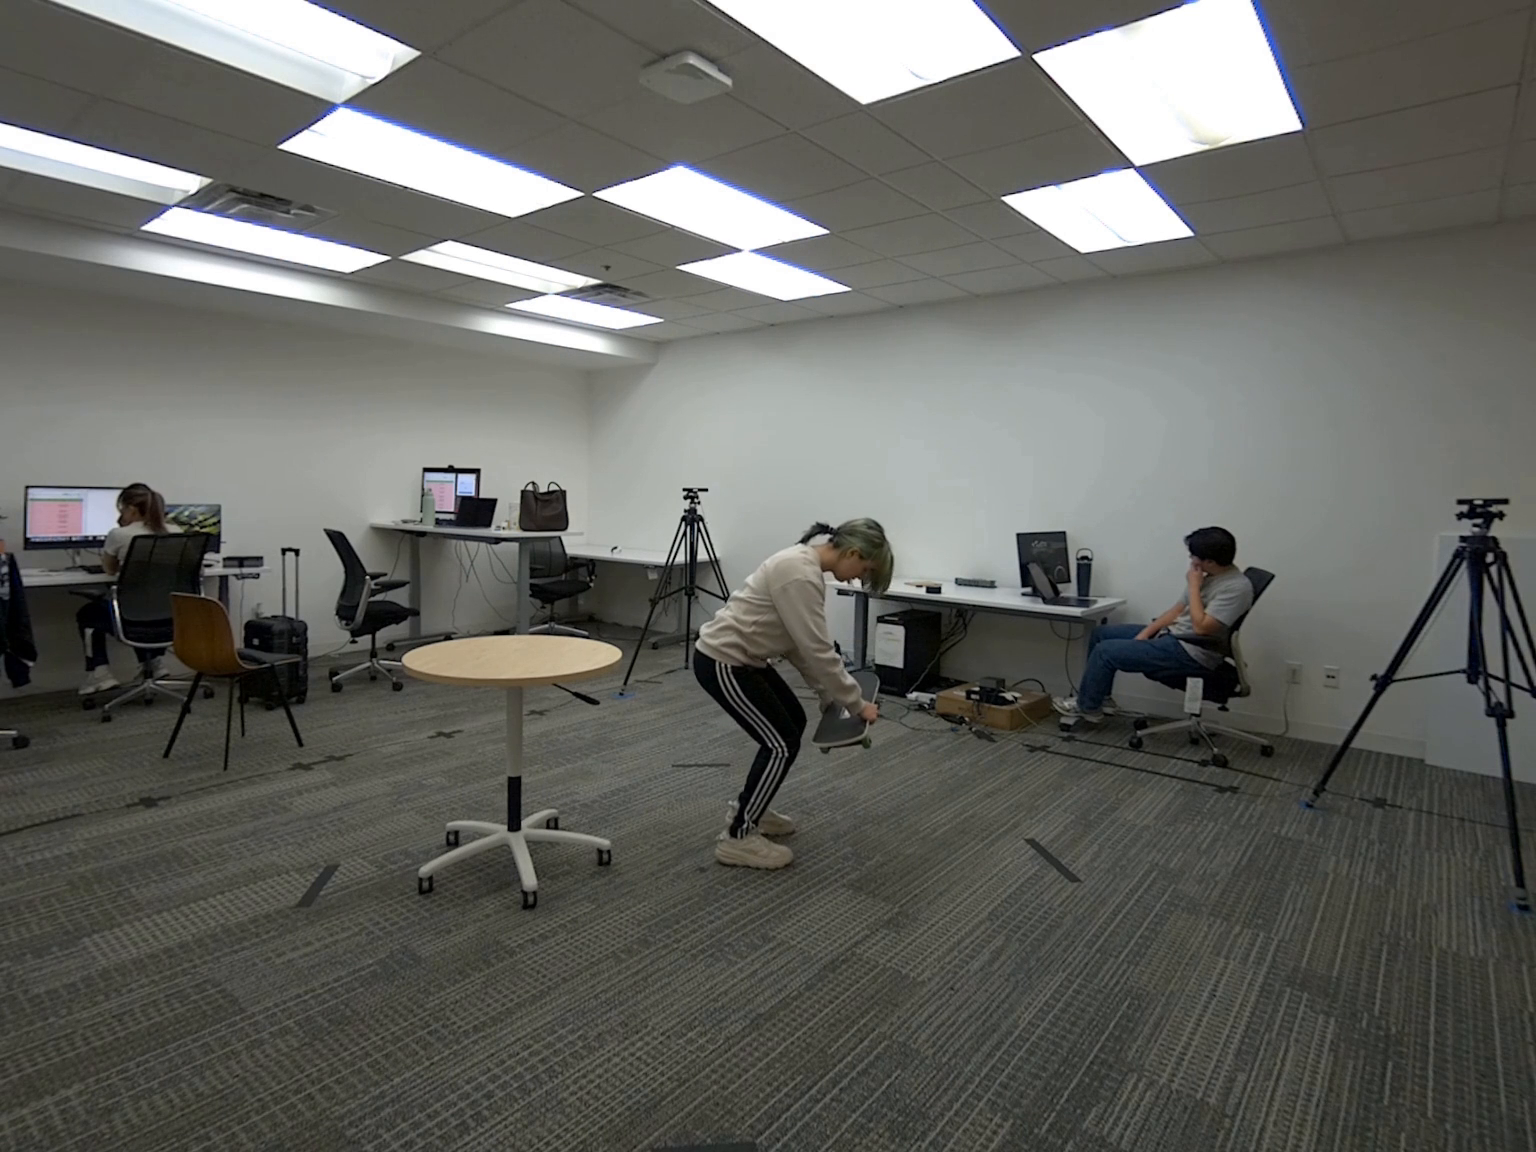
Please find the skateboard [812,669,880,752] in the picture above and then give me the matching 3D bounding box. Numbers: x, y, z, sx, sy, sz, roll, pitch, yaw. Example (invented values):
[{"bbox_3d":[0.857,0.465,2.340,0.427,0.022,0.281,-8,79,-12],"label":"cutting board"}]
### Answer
[{"bbox_3d":[0.309,0.544,3.277,0.196,0.109,0.782,-12,8,13],"label":"skateboard"}]
